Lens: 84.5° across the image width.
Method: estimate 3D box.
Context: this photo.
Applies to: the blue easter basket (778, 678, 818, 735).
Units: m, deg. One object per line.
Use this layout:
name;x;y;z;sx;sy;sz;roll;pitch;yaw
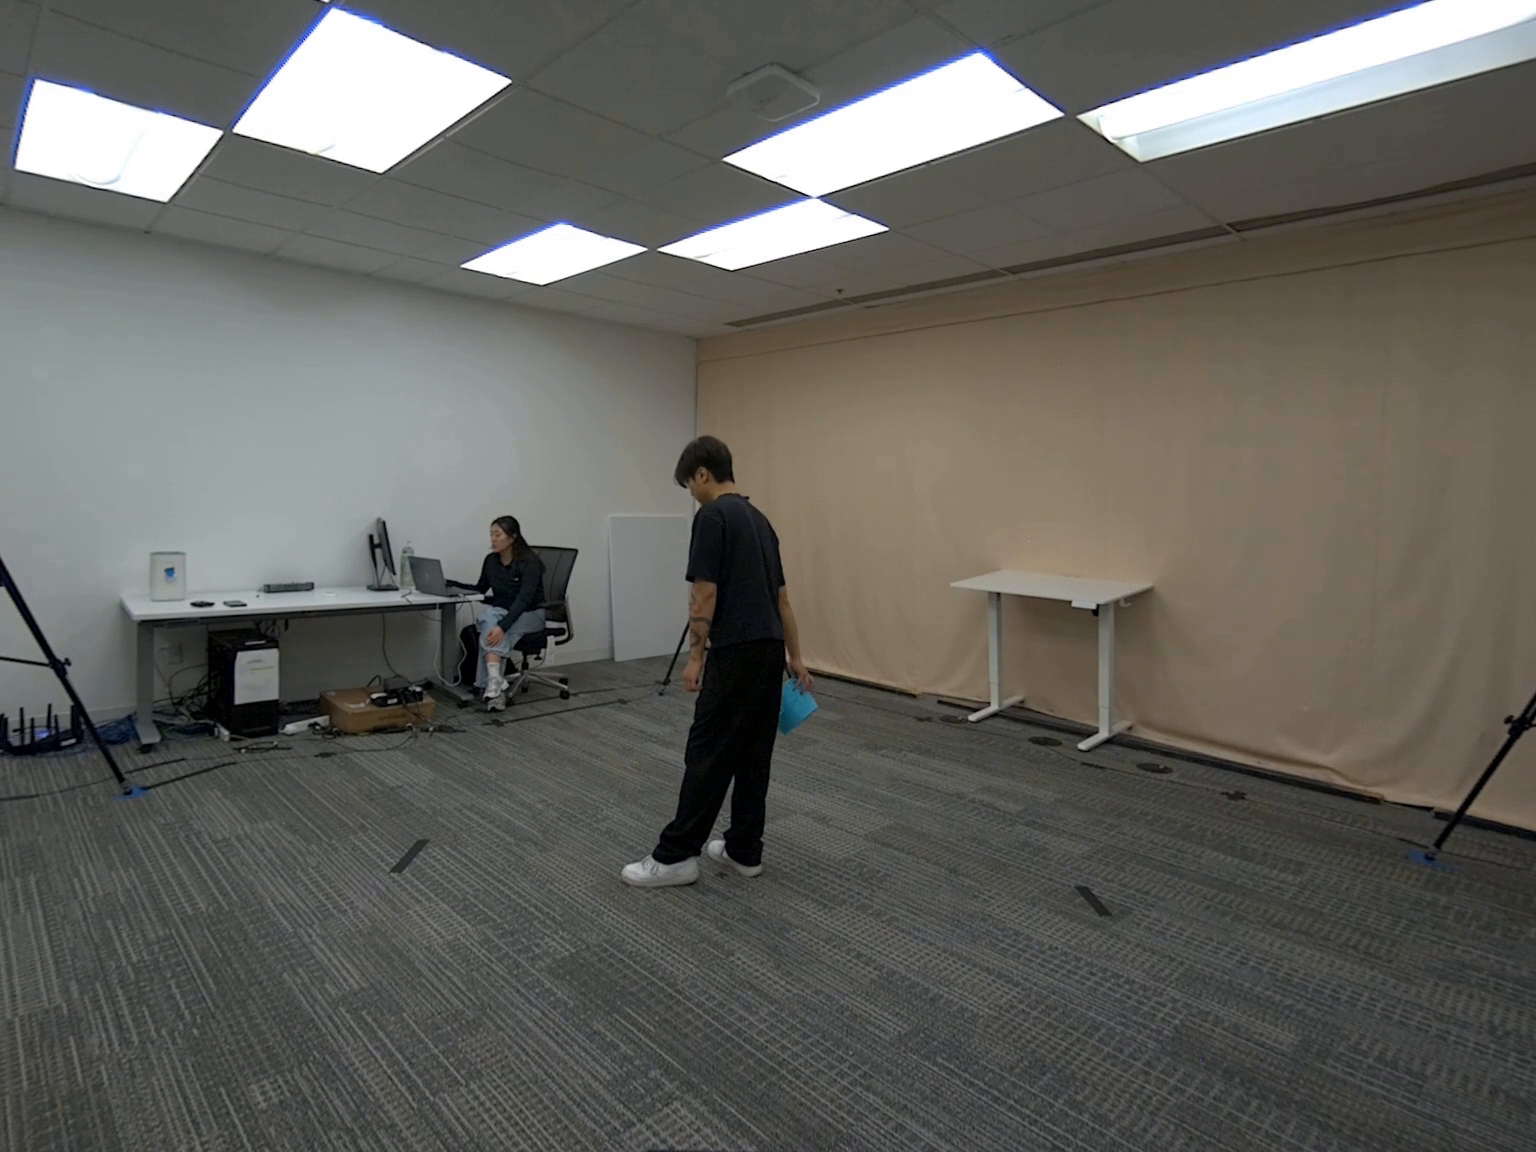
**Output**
blue easter basket;0.077;0.527;3.418;0.243;0.158;0.241;-38;-11;-11
